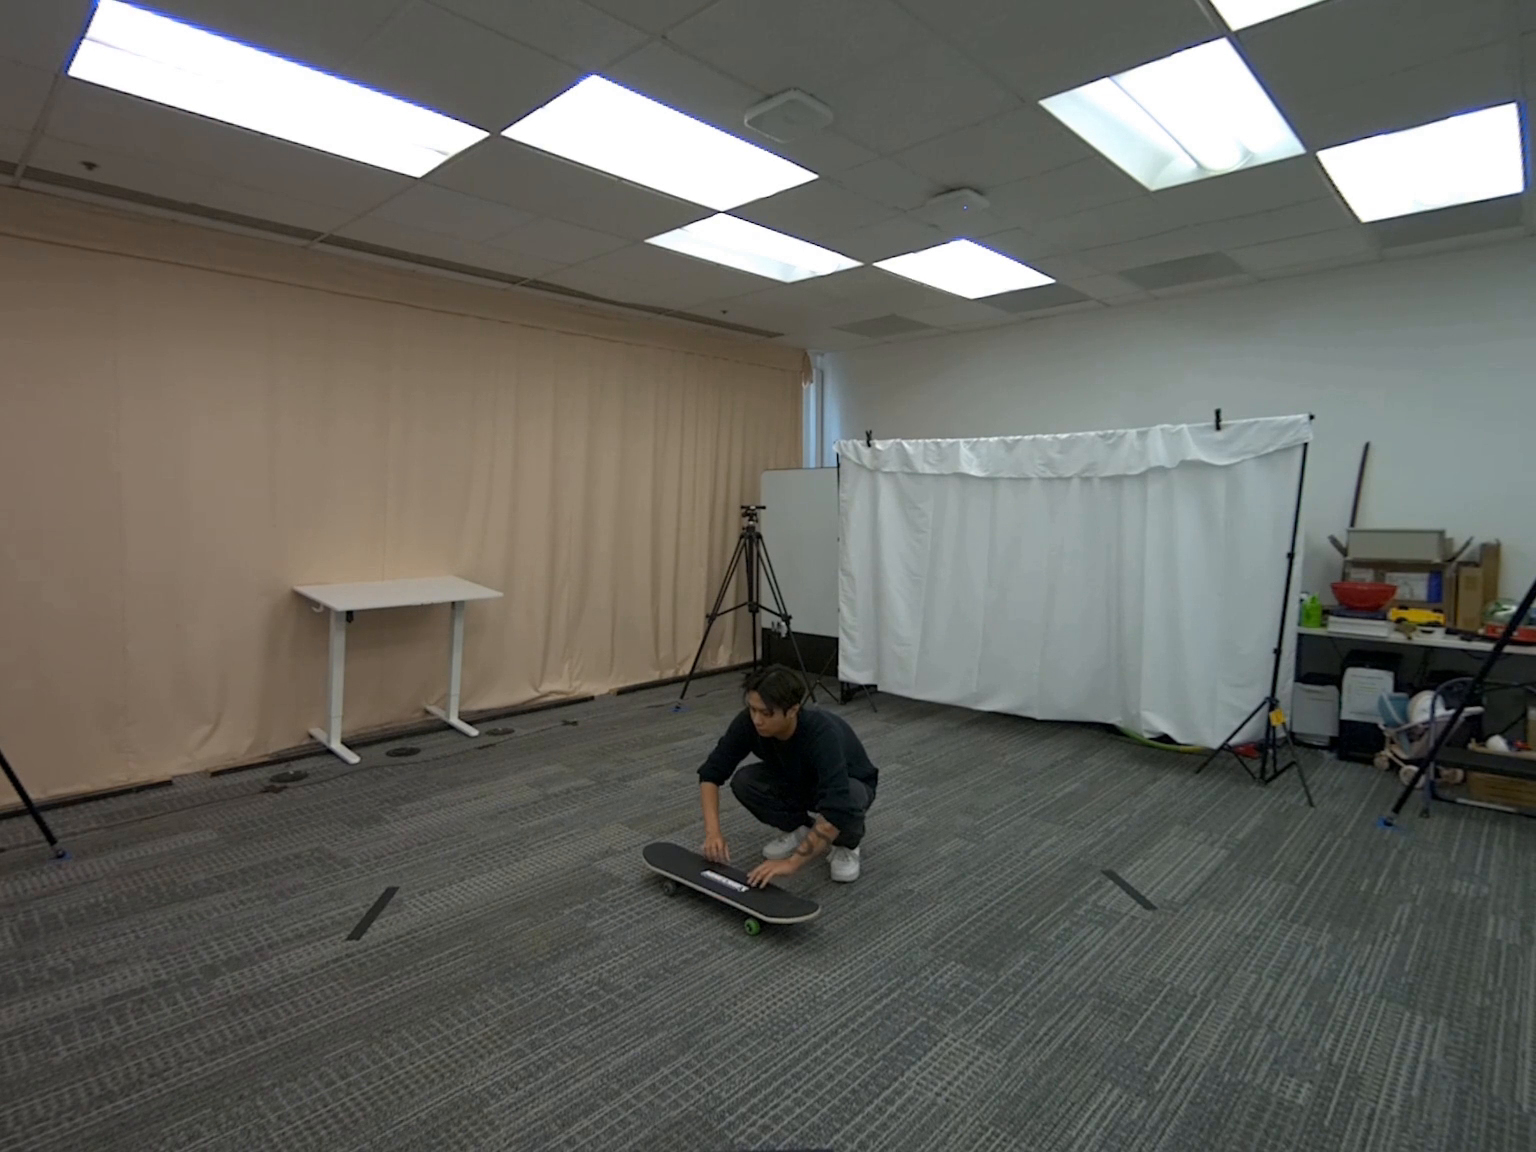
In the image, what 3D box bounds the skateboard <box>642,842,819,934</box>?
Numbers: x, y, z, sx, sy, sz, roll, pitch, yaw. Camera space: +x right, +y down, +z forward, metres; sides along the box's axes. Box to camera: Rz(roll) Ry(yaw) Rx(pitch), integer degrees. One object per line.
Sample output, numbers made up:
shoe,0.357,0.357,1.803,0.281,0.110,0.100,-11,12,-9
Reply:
skateboard,-0.143,1.081,2.938,0.812,0.110,0.187,4,6,43
